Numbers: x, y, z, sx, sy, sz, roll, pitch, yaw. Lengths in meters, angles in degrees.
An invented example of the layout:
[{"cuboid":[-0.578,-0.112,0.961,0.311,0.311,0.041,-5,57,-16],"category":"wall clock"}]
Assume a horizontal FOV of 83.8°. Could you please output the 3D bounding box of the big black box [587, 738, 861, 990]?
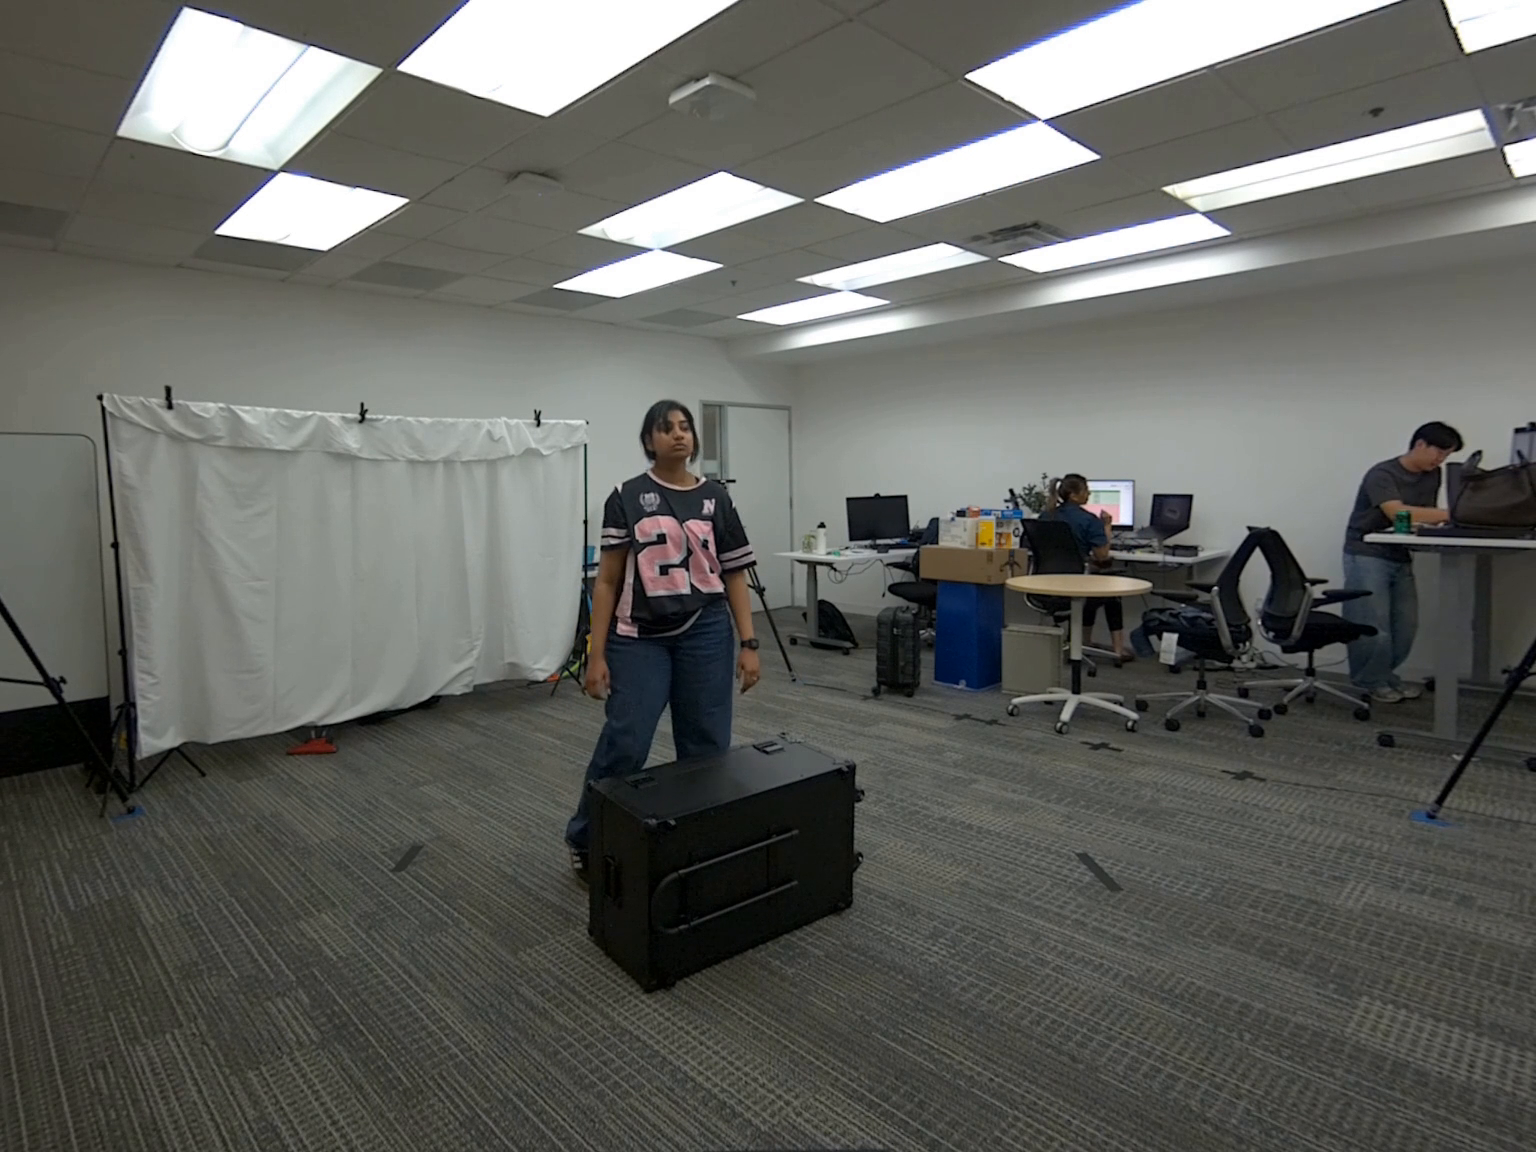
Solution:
[{"cuboid":[-0.098,0.842,2.689,0.846,0.521,0.397,-6,7,-37],"category":"big black box"}]
